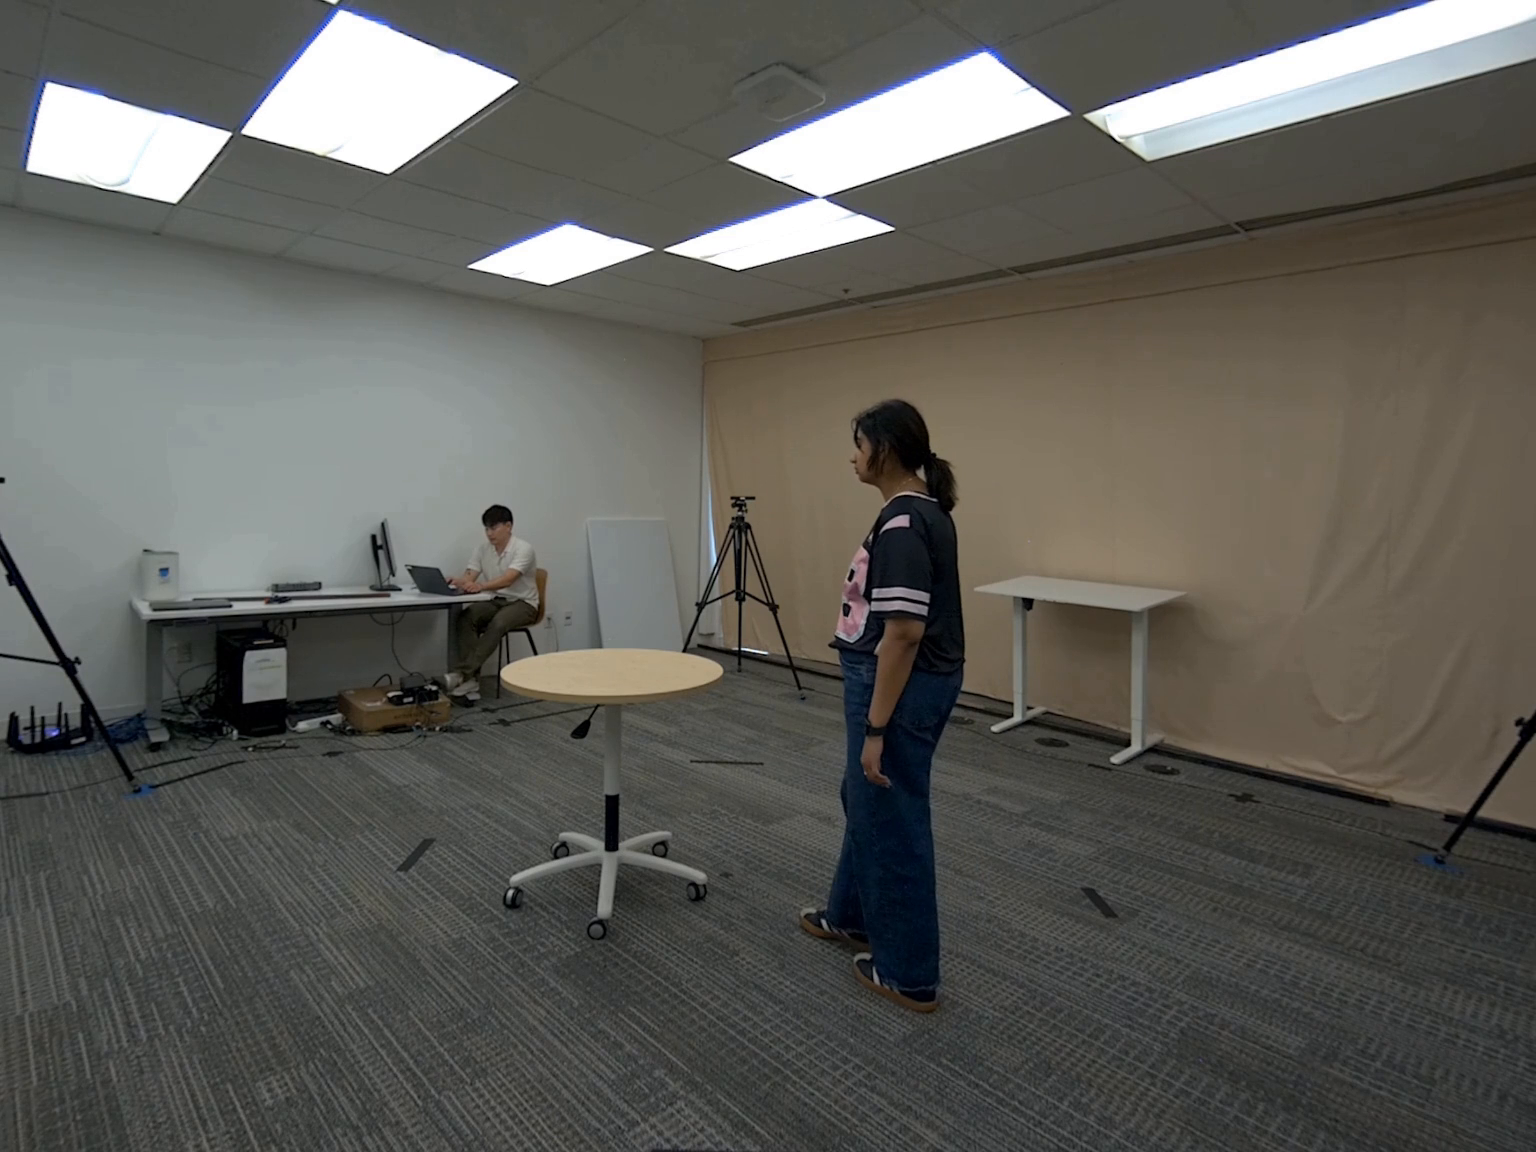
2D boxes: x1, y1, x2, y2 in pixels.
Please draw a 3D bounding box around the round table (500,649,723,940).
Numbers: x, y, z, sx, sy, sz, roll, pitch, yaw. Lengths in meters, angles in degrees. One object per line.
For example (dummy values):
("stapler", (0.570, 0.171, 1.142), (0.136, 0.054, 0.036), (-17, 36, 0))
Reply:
("round table", (-0.554, 0.720, 2.965), (0.763, 0.792, 0.767), (1, 4, -1))
